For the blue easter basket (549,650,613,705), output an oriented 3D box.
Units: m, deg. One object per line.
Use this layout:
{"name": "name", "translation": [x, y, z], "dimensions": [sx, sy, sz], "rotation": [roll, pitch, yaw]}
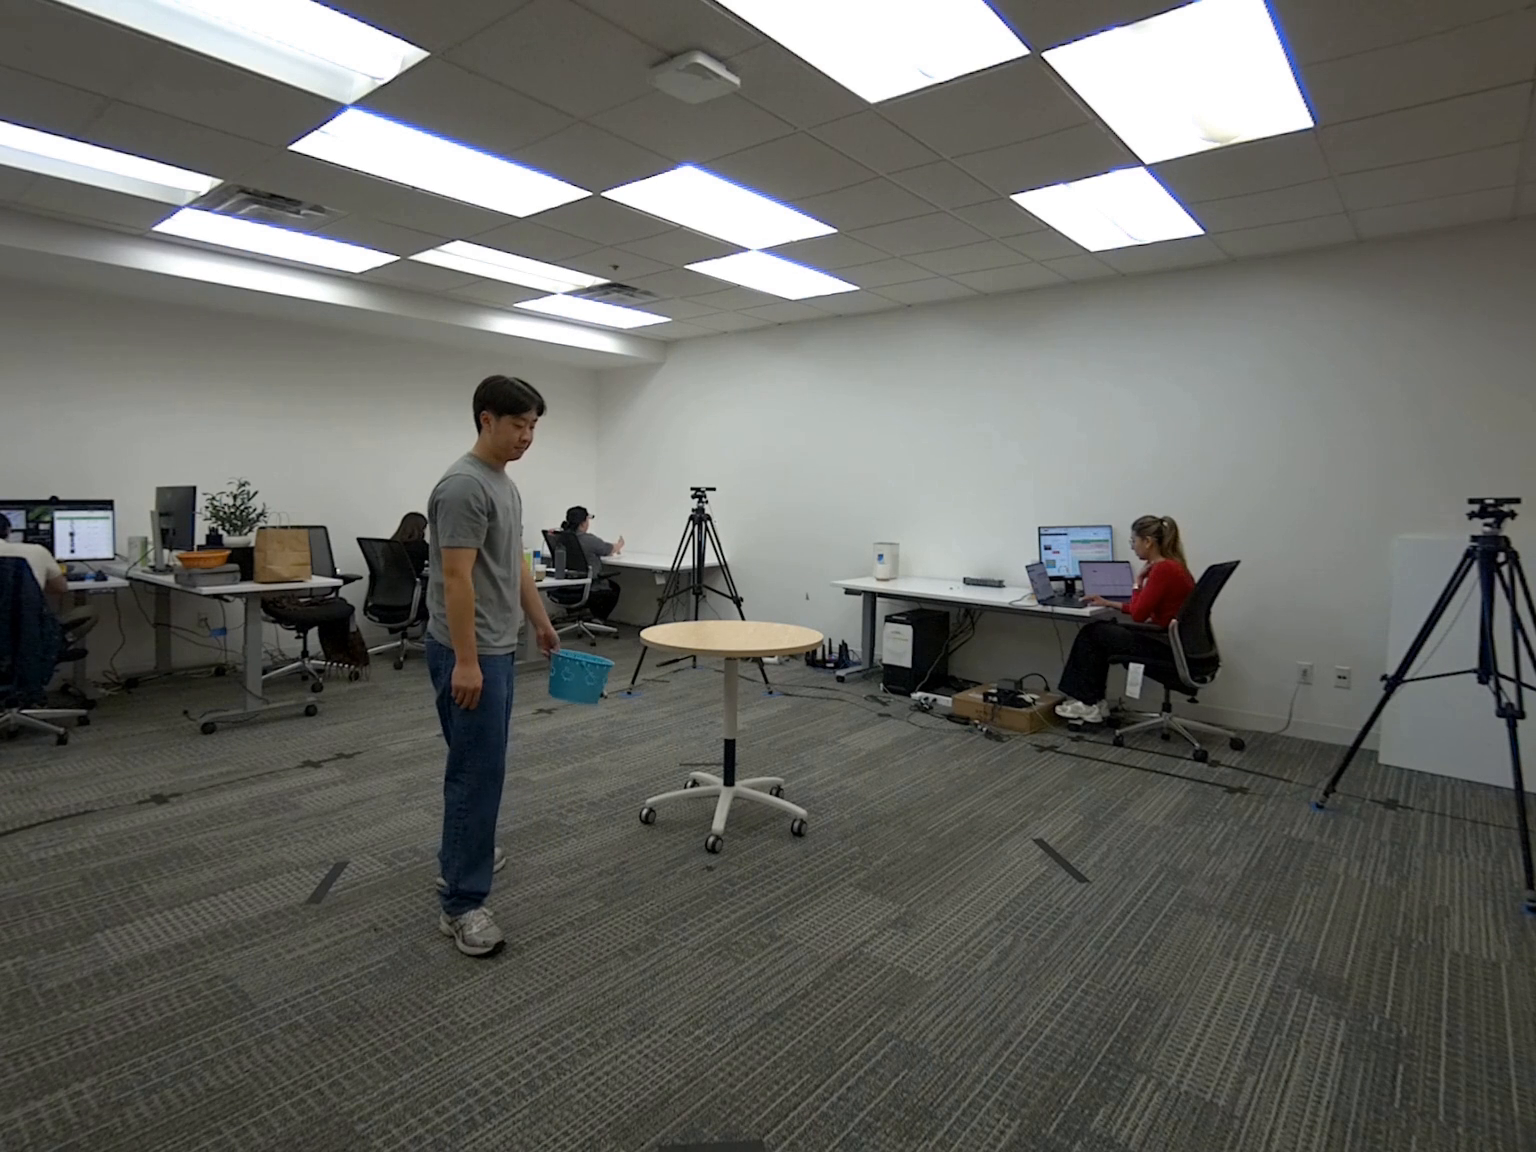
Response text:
{"name": "blue easter basket", "translation": [-0.695, 0.359, 3.026], "dimensions": [0.243, 0.156, 0.243], "rotation": [11, -3, -1]}
